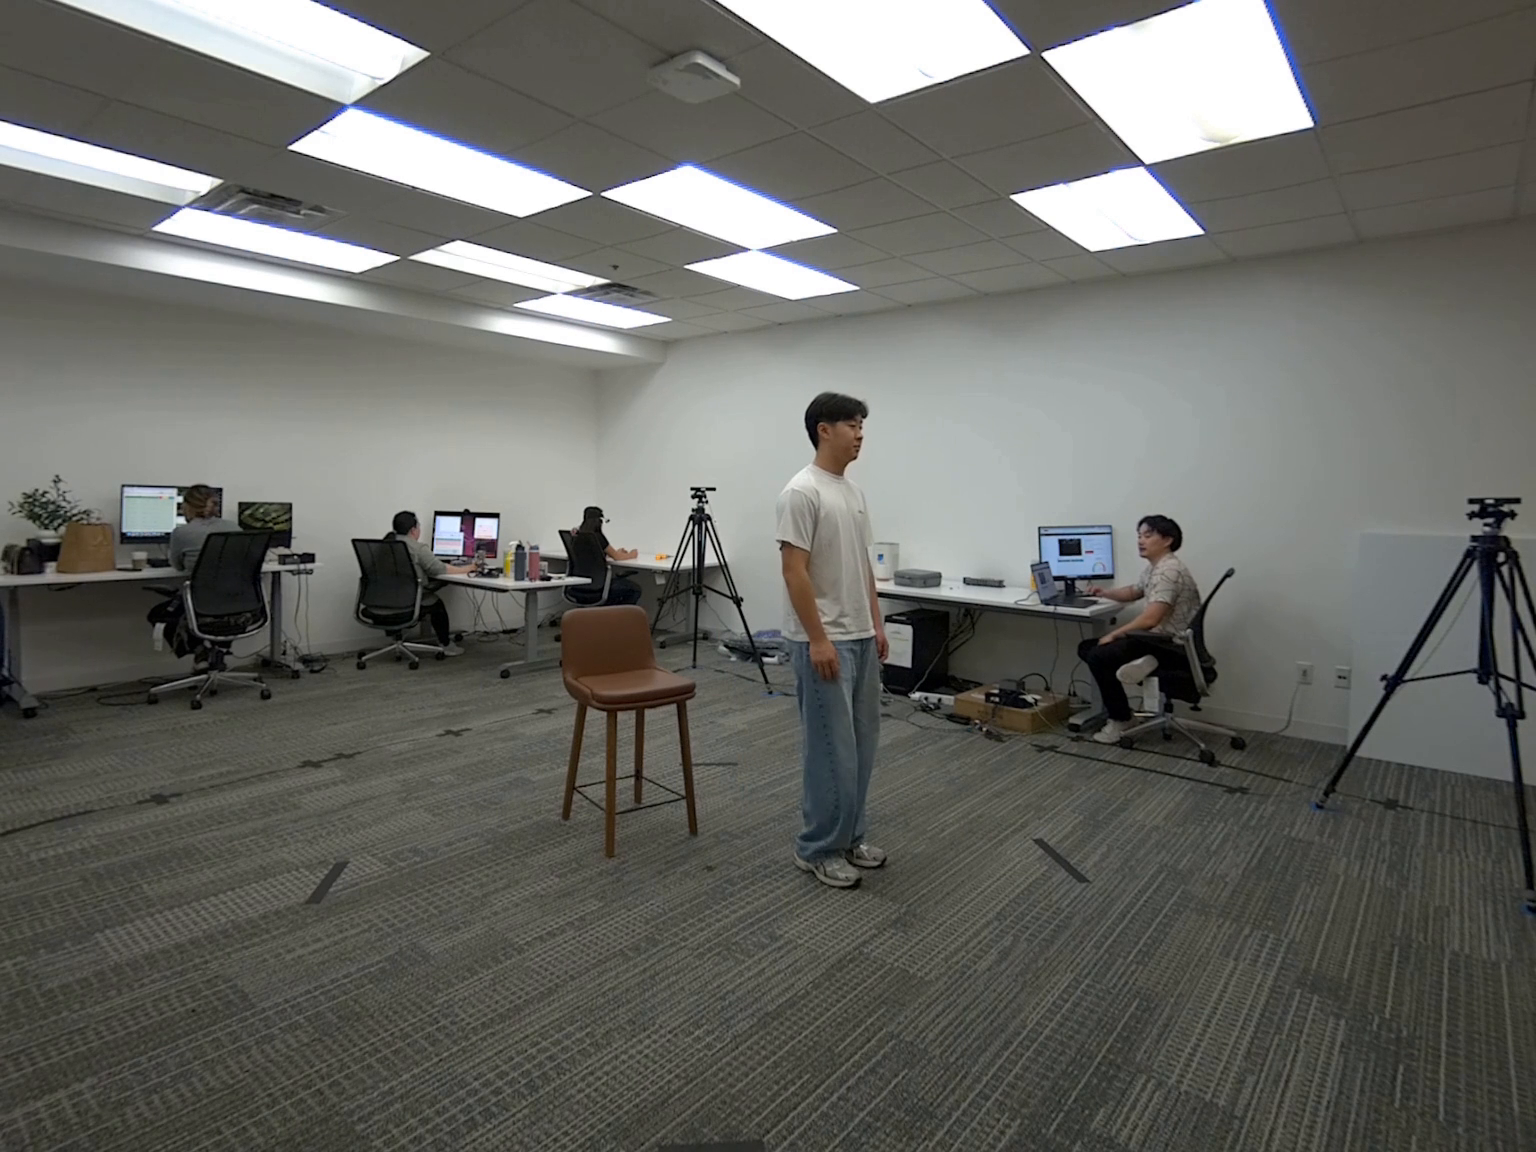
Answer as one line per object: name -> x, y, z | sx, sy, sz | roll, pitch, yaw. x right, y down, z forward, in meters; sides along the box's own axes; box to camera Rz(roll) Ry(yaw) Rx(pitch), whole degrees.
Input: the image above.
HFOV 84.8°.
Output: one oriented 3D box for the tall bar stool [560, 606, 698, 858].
tall bar stool -> -0.587, 0.588, 3.465 | 0.443, 0.888, 0.482 | -2, 2, -38
